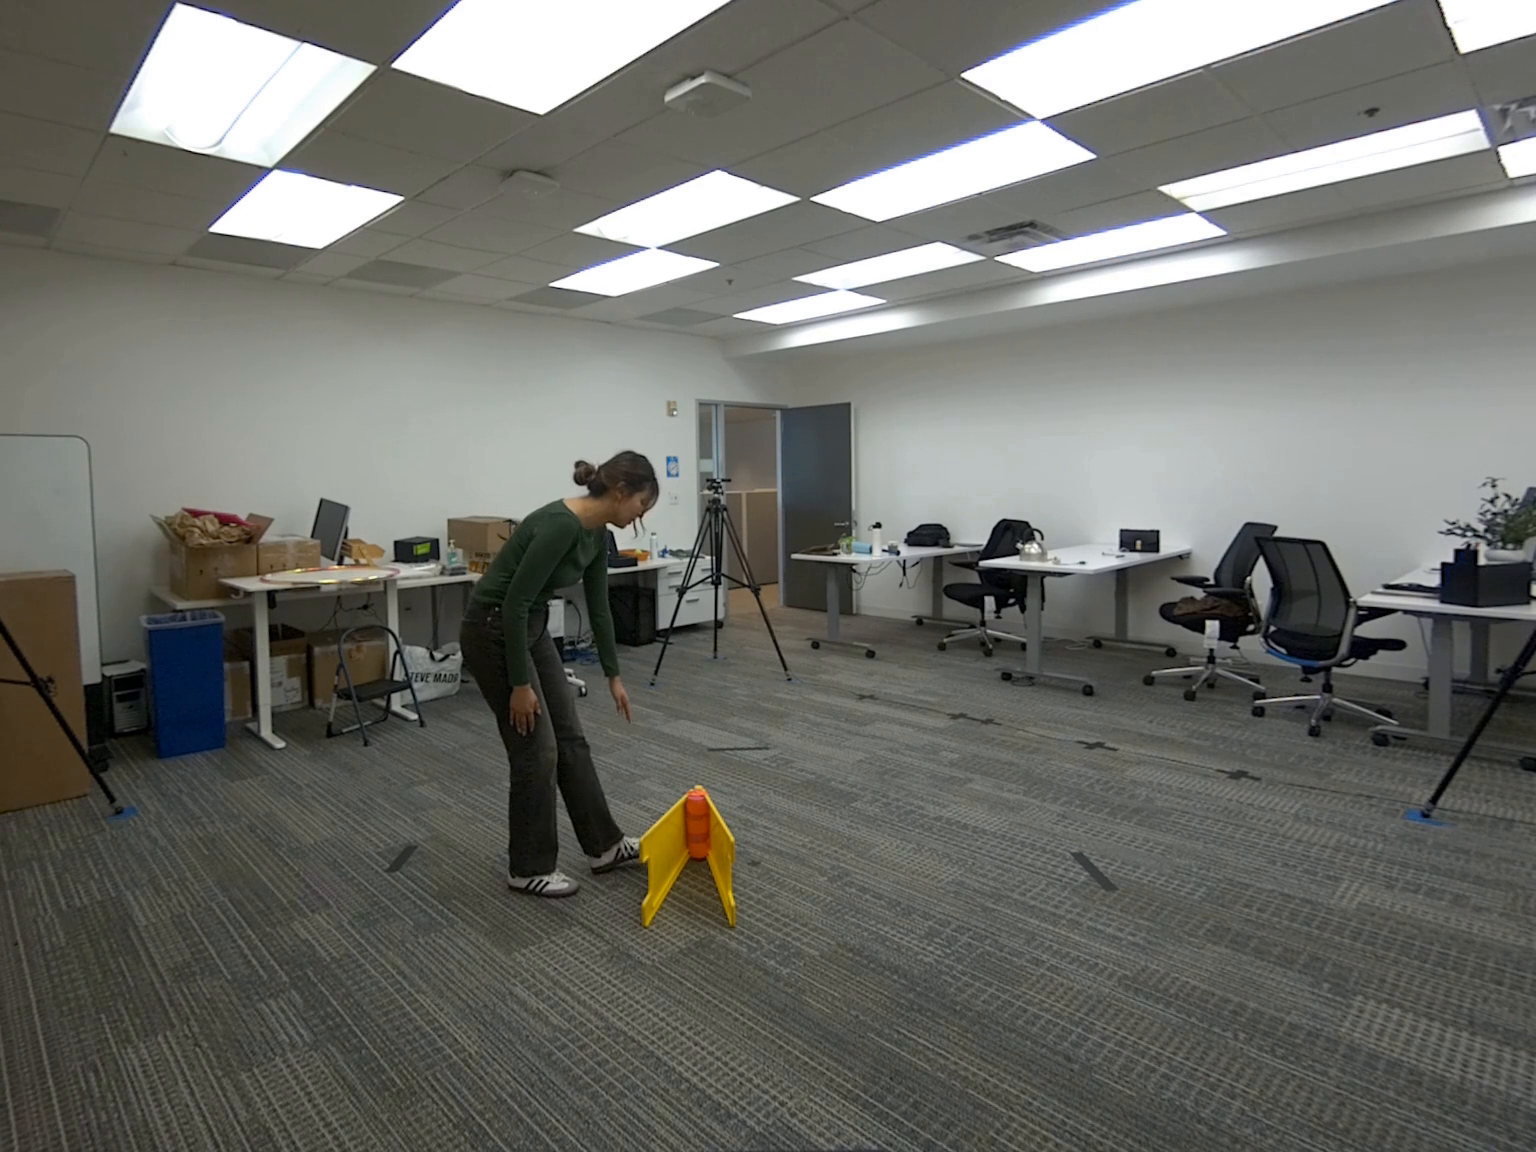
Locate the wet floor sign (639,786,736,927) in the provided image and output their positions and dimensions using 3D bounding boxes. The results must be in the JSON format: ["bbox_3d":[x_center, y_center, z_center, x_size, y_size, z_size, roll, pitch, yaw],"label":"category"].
[{"bbox_3d":[-0.258,0.928,2.992,0.290,0.281,0.648,-1,4,-2],"label":"wet floor sign"}]
